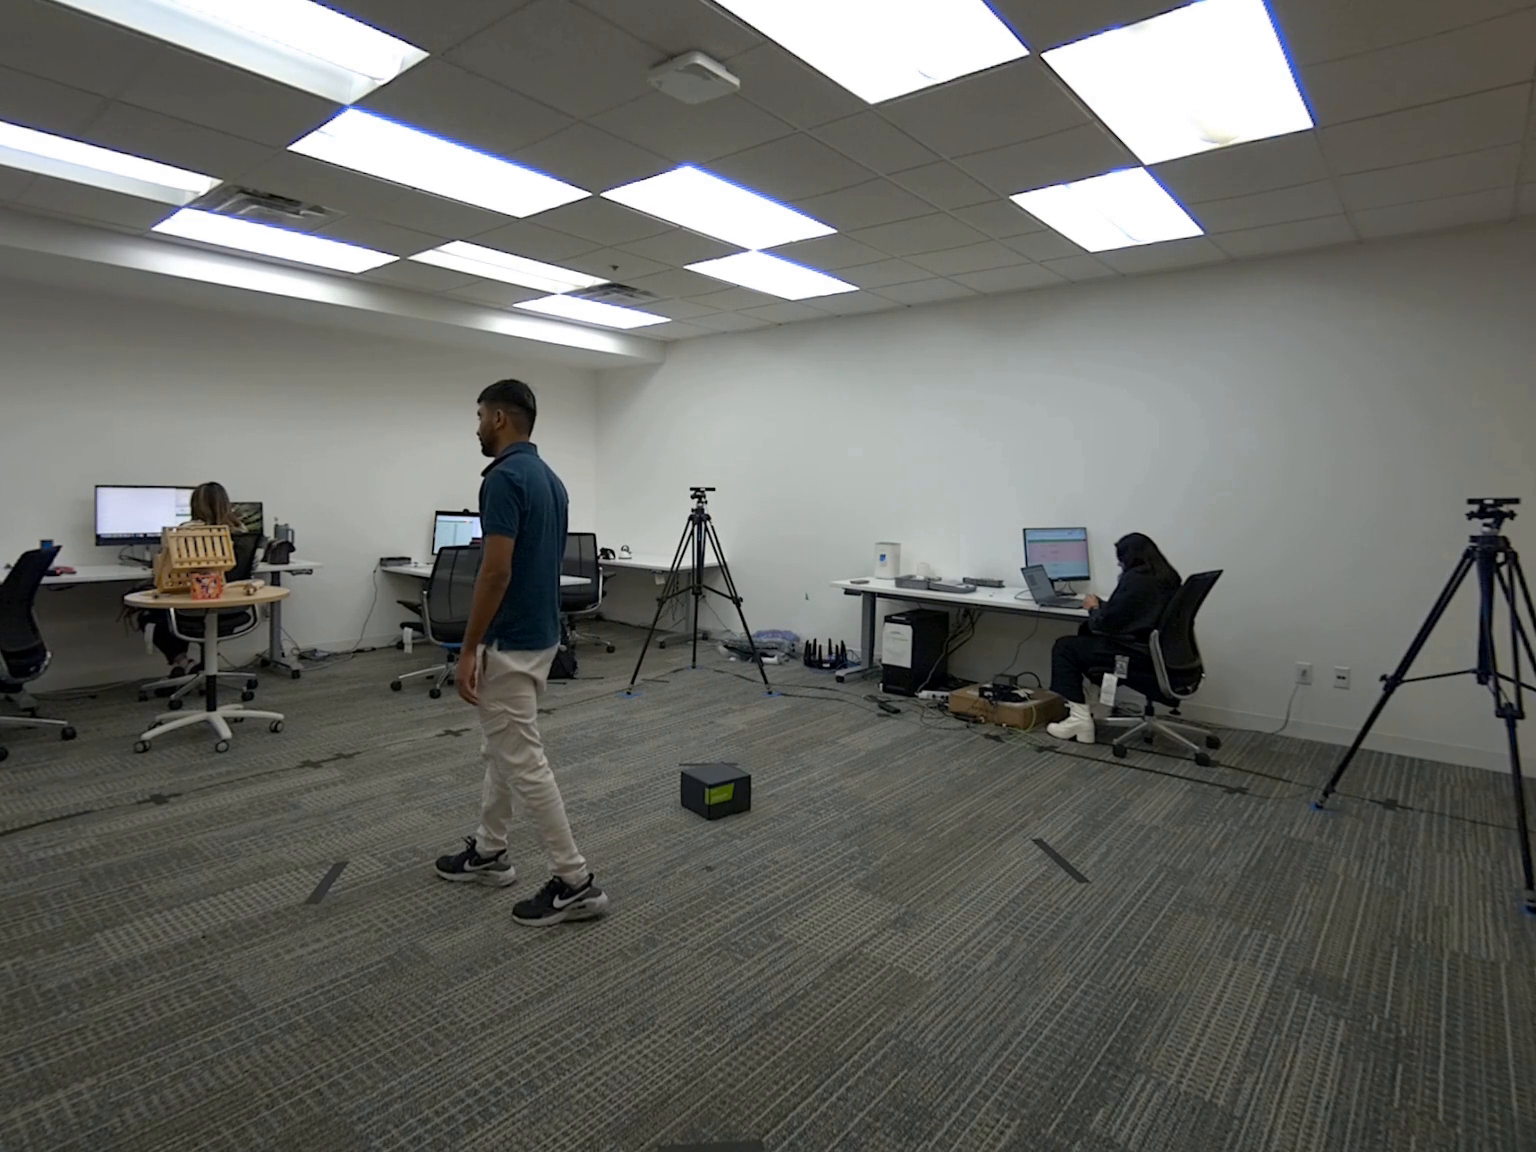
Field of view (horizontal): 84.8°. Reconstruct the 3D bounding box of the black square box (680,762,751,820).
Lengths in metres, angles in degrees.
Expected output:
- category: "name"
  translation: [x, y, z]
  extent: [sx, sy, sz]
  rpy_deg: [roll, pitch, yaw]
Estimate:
- category: "black square box"
  translation: [-0.237, 0.925, 3.700]
  extent: [0.221, 0.155, 0.224]
  rpy_deg: [-3, 6, -39]
